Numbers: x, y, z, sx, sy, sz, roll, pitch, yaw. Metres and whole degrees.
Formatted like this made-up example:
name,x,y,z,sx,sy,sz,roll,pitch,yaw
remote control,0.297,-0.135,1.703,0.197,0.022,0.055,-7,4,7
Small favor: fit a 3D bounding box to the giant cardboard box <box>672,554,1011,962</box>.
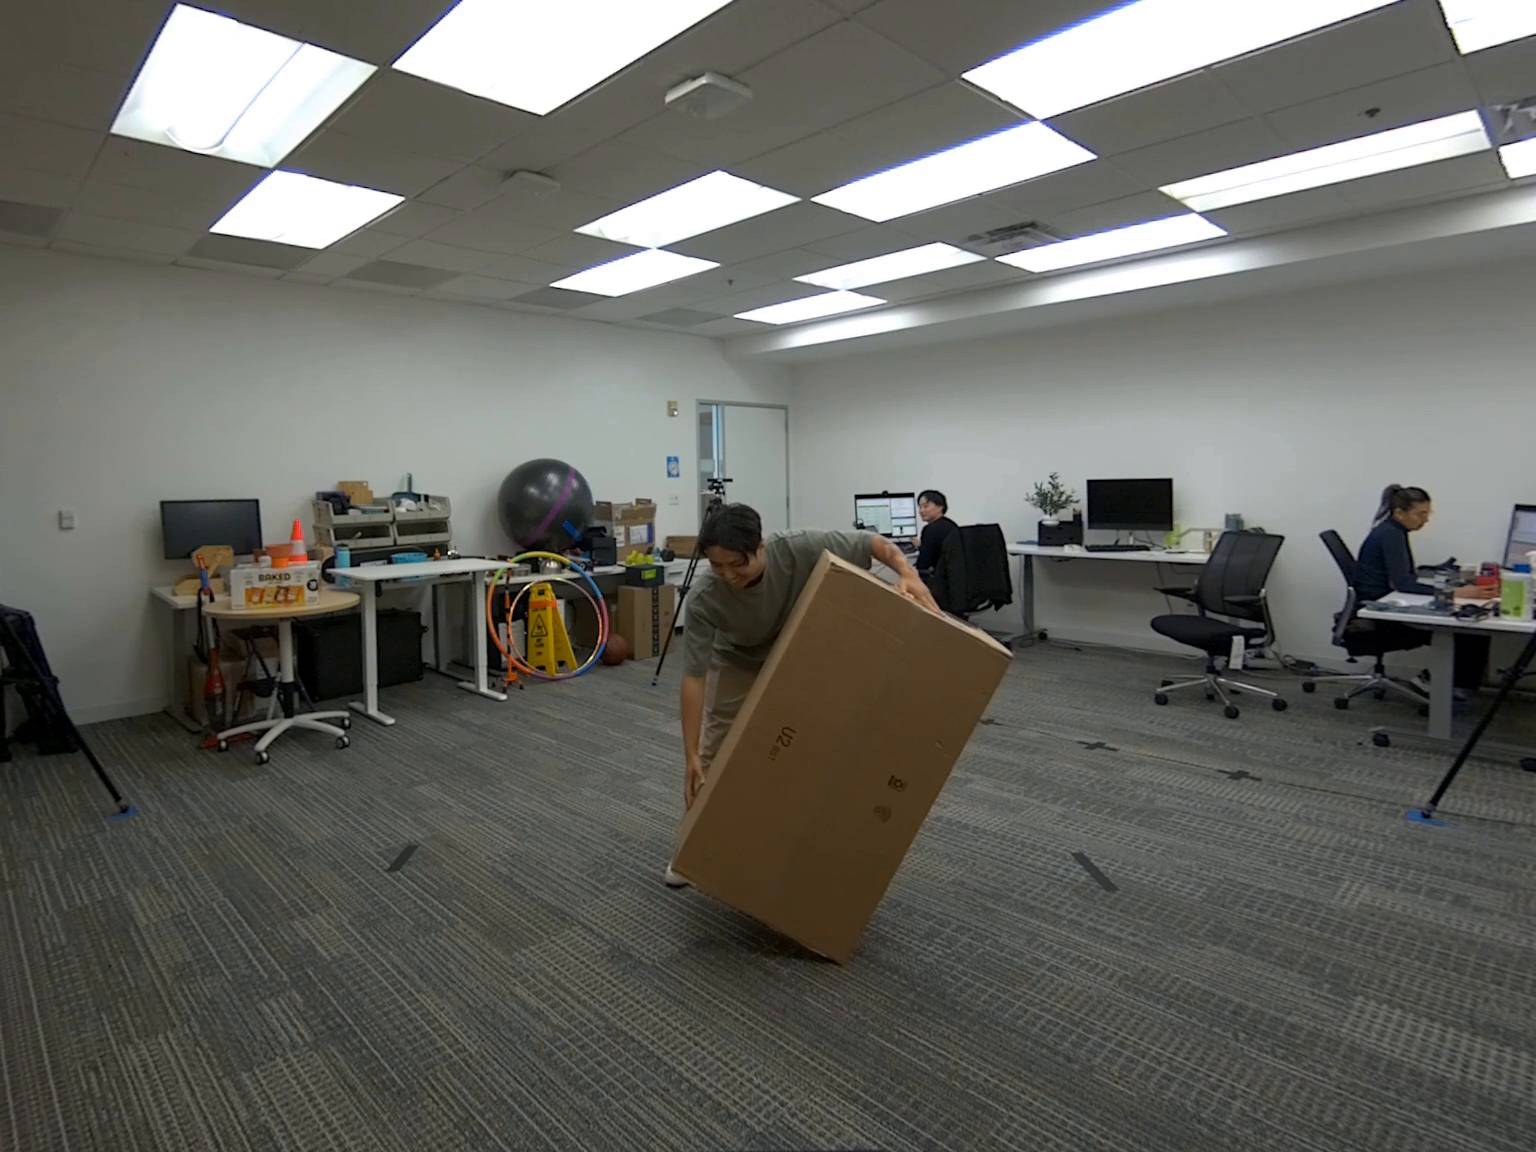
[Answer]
name,x,y,z,sx,sy,sz,roll,pitch,yaw
giant cardboard box,0.213,0.523,2.616,0.578,1.024,0.427,27,5,0
